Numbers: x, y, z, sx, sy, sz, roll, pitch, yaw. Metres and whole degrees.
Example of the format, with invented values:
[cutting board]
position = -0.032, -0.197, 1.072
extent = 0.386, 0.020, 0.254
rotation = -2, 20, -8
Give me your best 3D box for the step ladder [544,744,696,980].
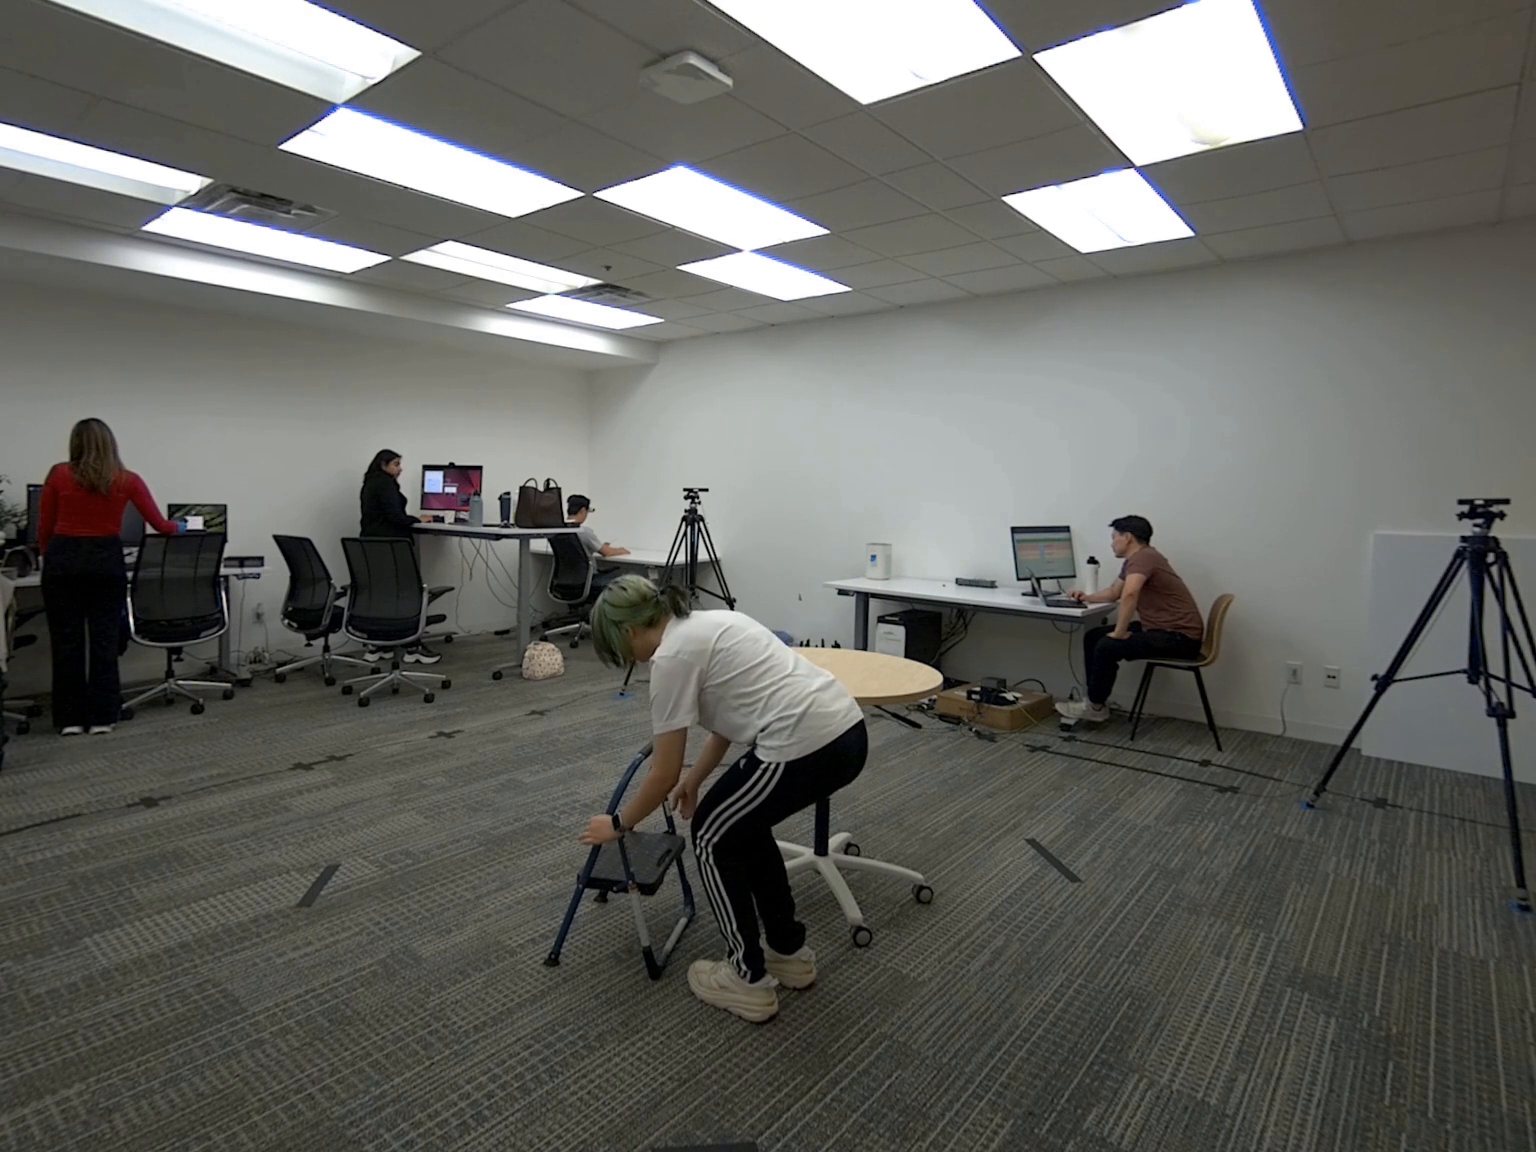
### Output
[step ladder]
position = -0.442, 0.812, 2.615
extent = 0.354, 0.604, 0.426
rotation = 1, 3, 11
